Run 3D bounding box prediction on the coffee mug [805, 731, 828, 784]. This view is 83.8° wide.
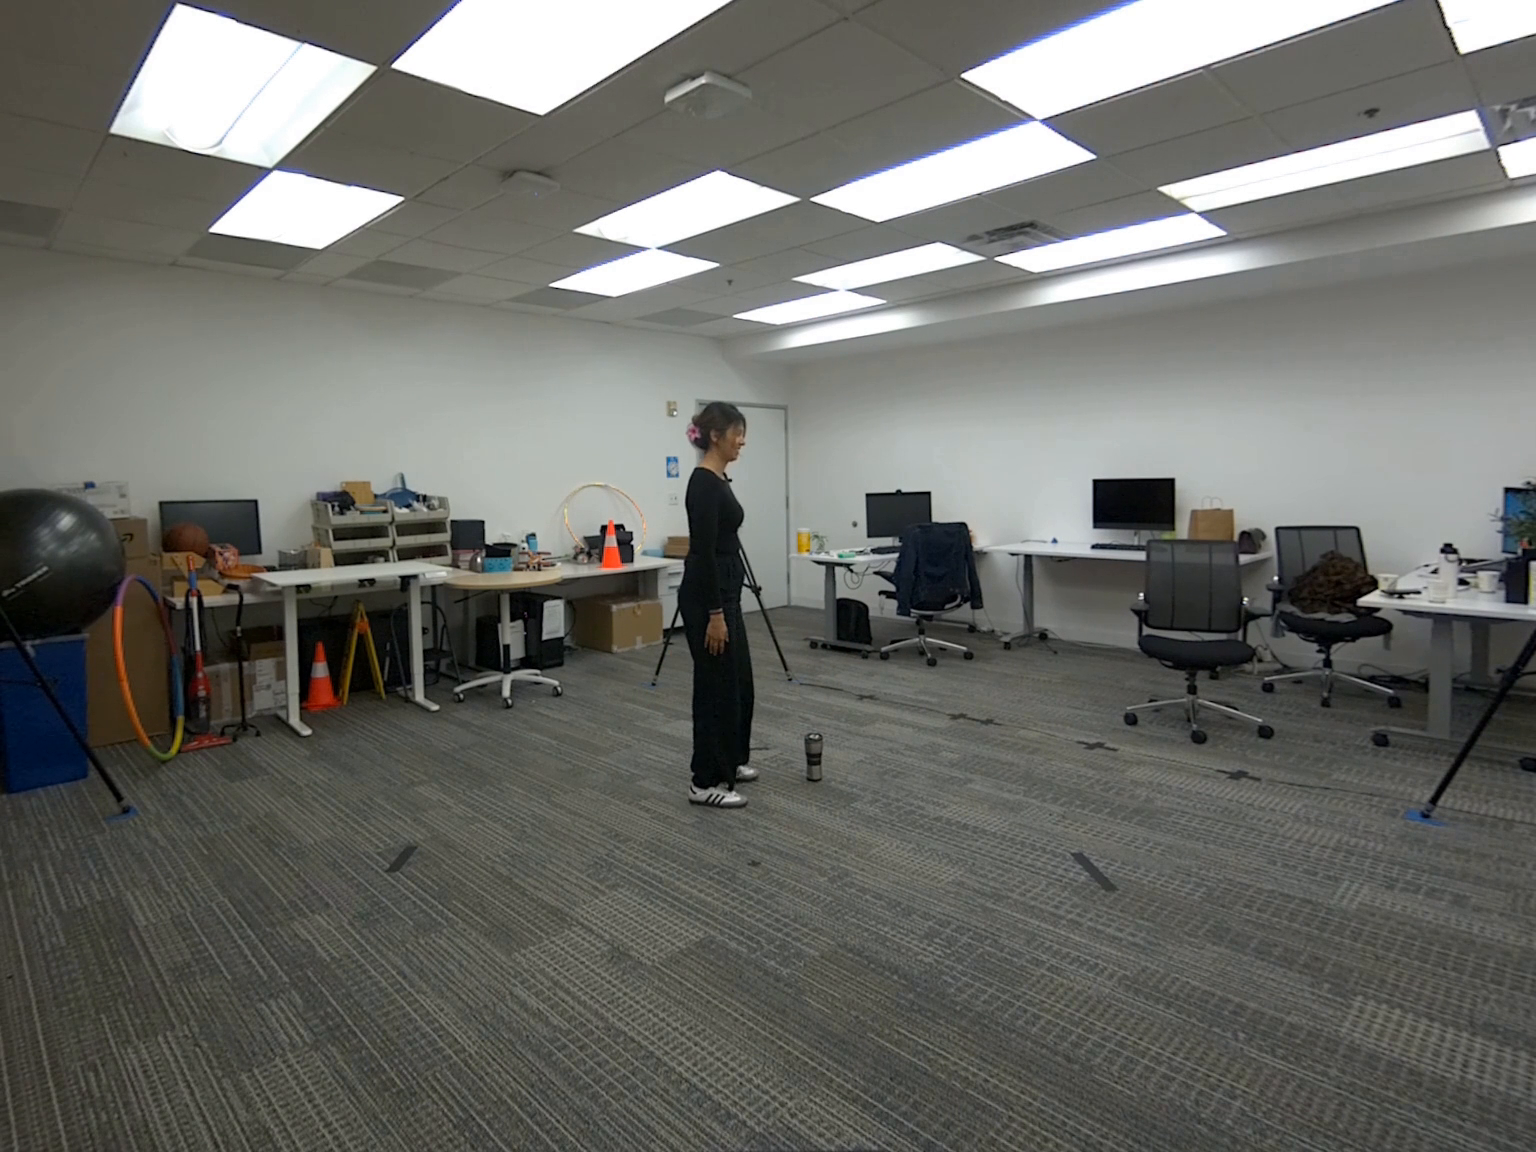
[{"bbox_3d":[0.223,0.841,3.982,0.088,0.202,0.122,-2,6,1],"label":"coffee mug"}]
